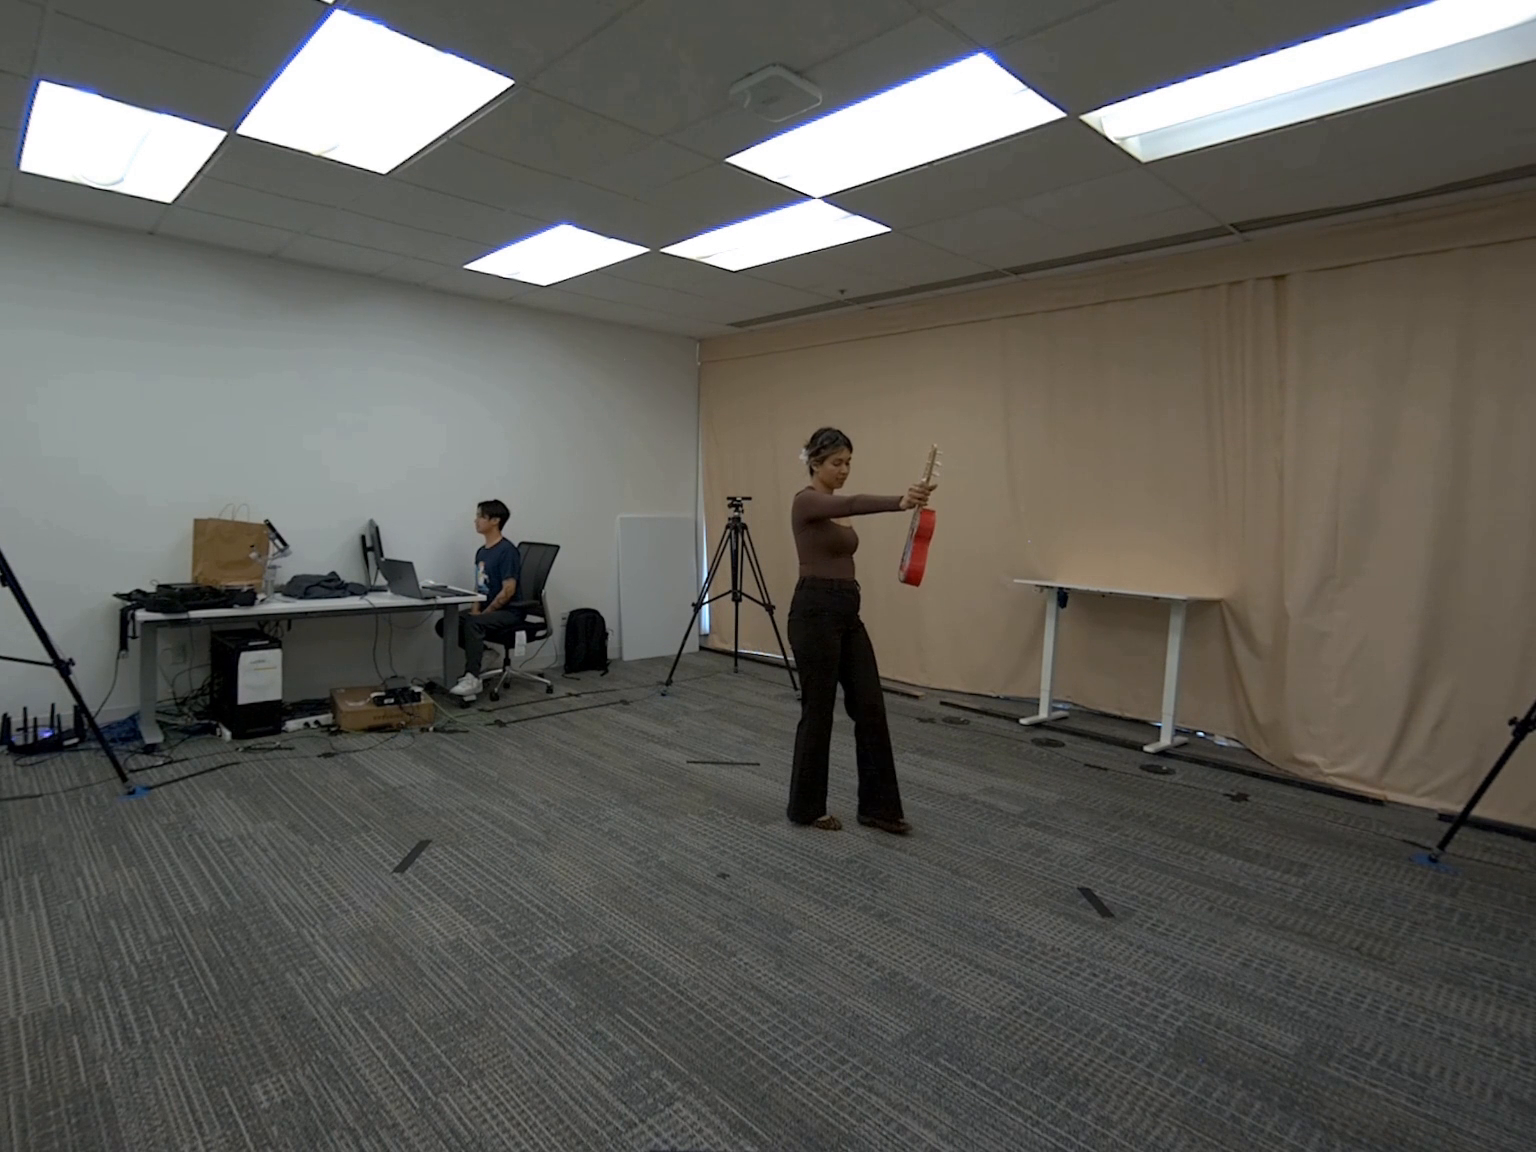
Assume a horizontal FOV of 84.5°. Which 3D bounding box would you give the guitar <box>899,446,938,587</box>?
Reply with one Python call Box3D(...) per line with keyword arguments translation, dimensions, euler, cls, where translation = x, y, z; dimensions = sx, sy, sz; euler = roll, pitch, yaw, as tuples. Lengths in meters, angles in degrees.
Box3D(translation=(0.540, -0.205, 2.943), dimensions=(0.071, 0.493, 0.194), euler=(12, 17, 1), cls="guitar")
